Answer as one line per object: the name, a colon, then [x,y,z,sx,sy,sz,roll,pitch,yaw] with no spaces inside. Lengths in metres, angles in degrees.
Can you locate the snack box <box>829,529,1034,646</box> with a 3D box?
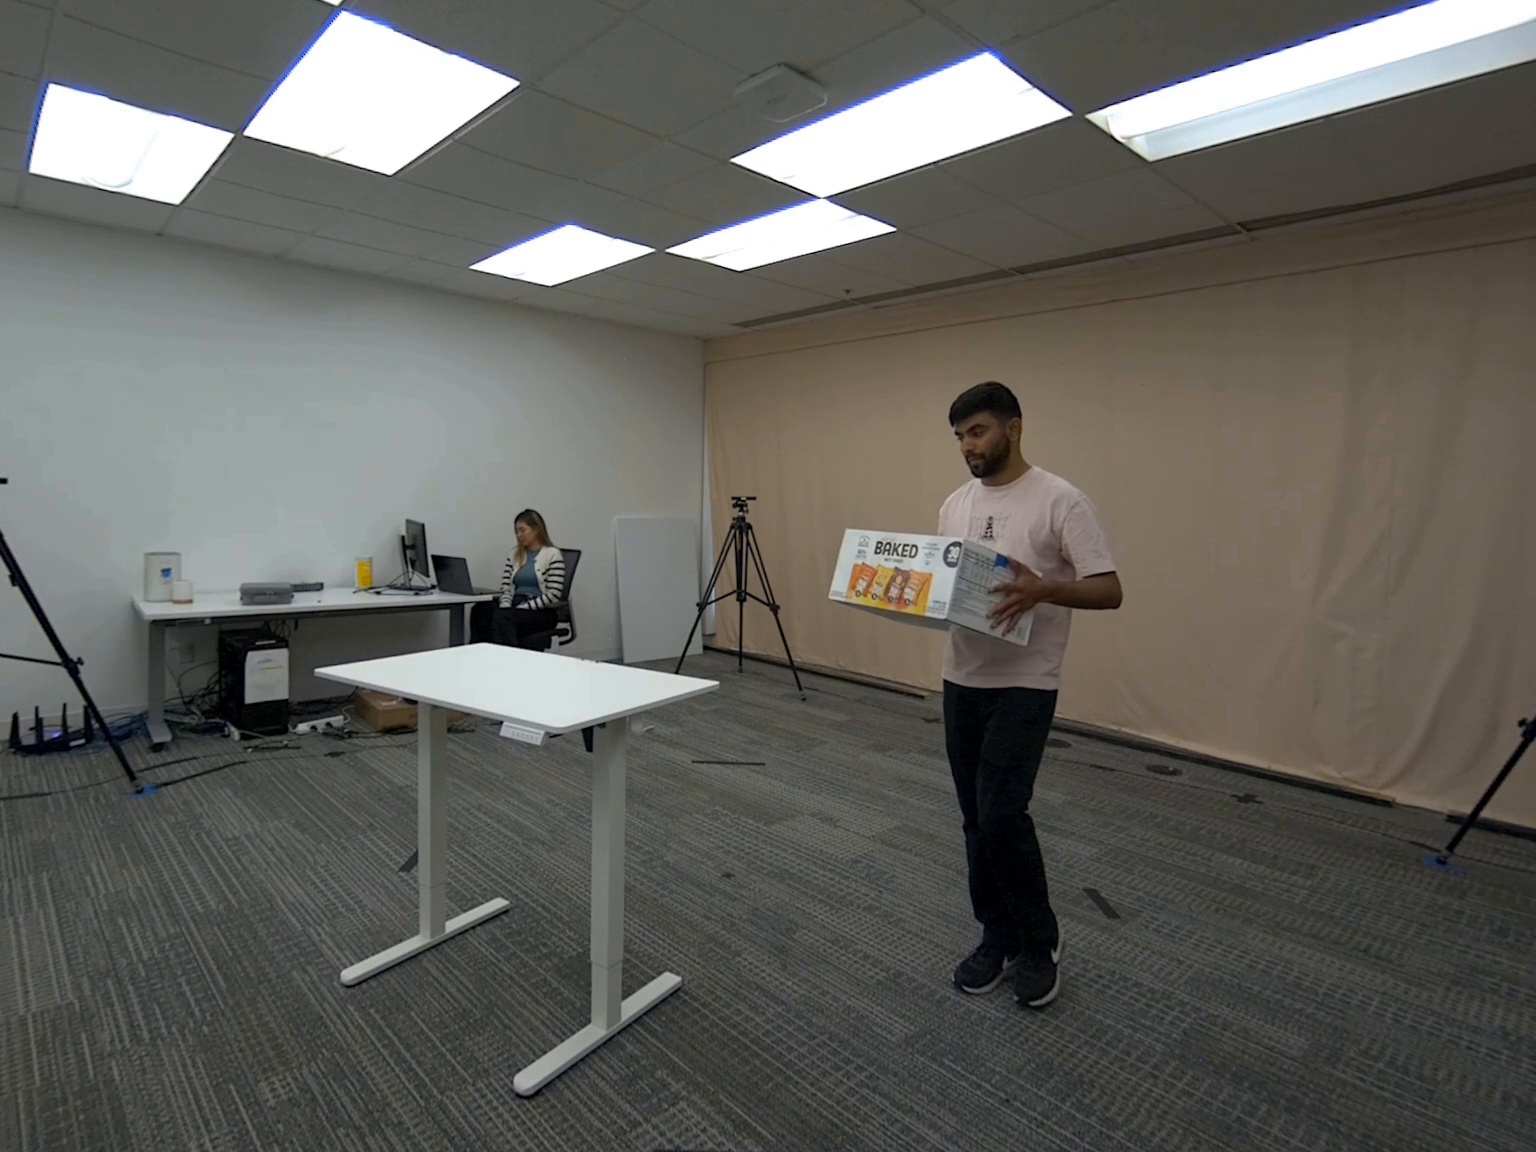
snack box: [0.437,0.029,2.254,0.331,0.206,0.415,18,-6,-38]
